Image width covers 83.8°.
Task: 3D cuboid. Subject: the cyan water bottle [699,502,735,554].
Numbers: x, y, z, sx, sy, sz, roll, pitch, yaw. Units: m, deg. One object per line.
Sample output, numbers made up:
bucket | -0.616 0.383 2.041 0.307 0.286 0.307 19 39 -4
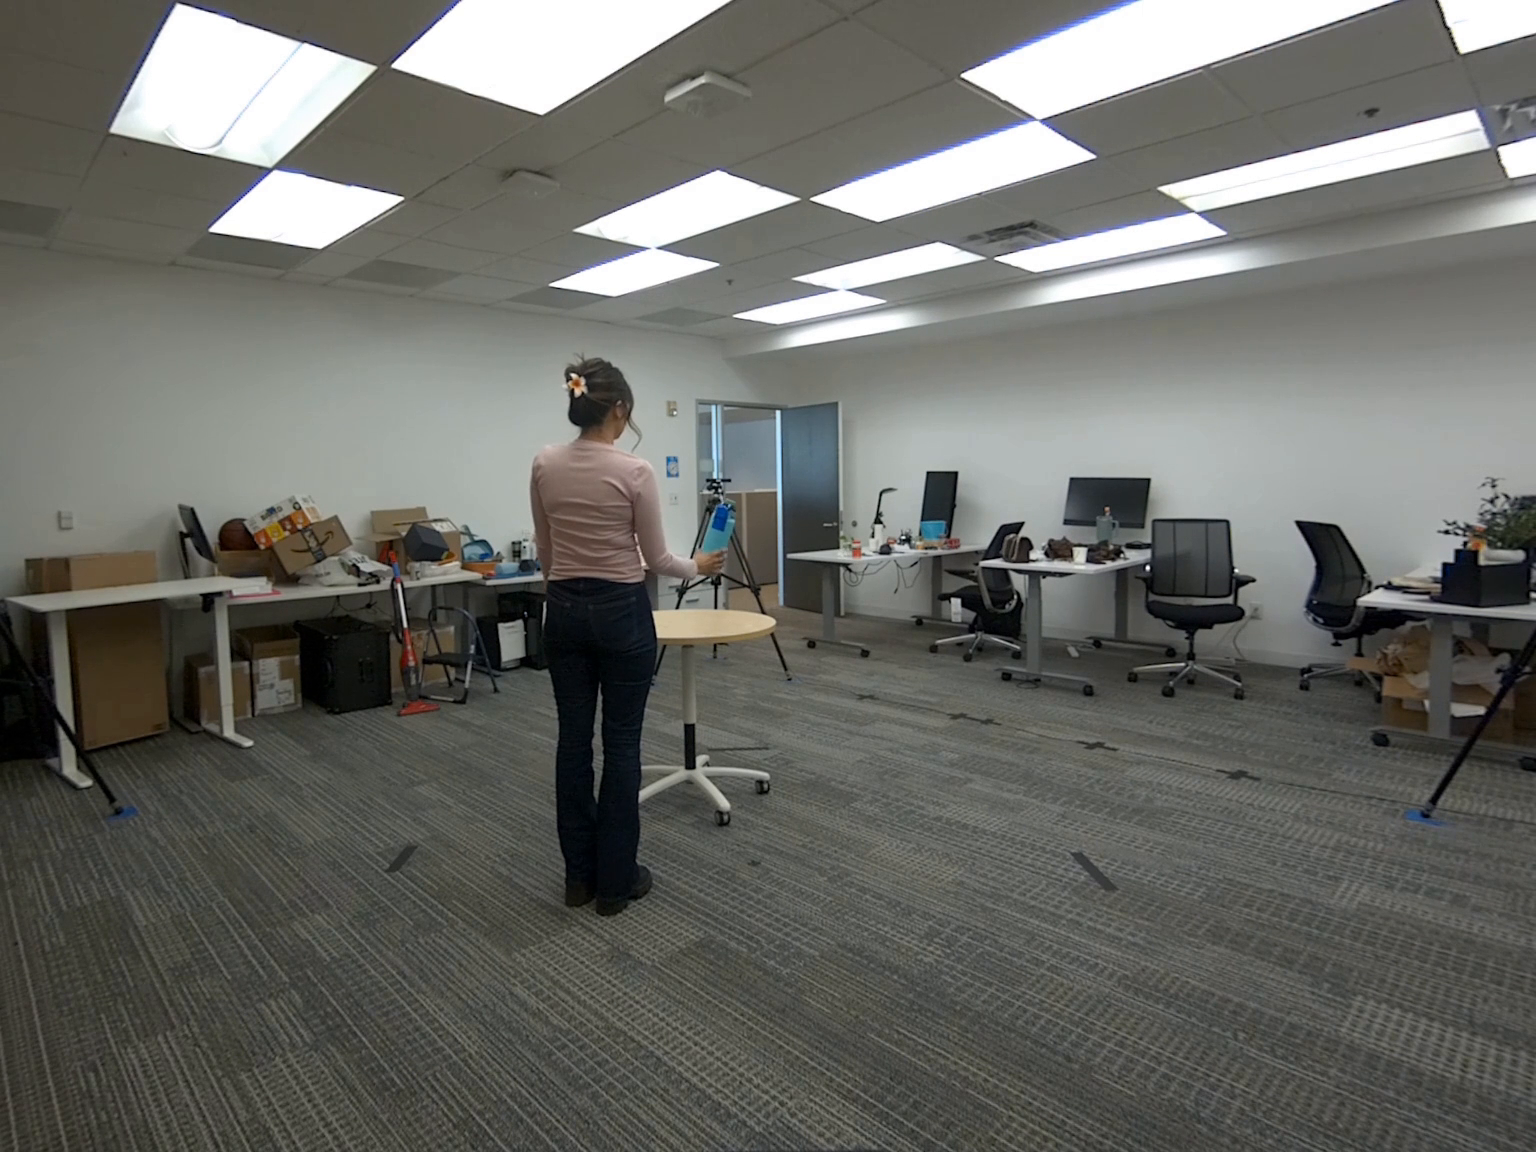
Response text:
cyan water bottle | -0.185 -0.143 3.090 0.092 0.282 0.093 17 9 -5
